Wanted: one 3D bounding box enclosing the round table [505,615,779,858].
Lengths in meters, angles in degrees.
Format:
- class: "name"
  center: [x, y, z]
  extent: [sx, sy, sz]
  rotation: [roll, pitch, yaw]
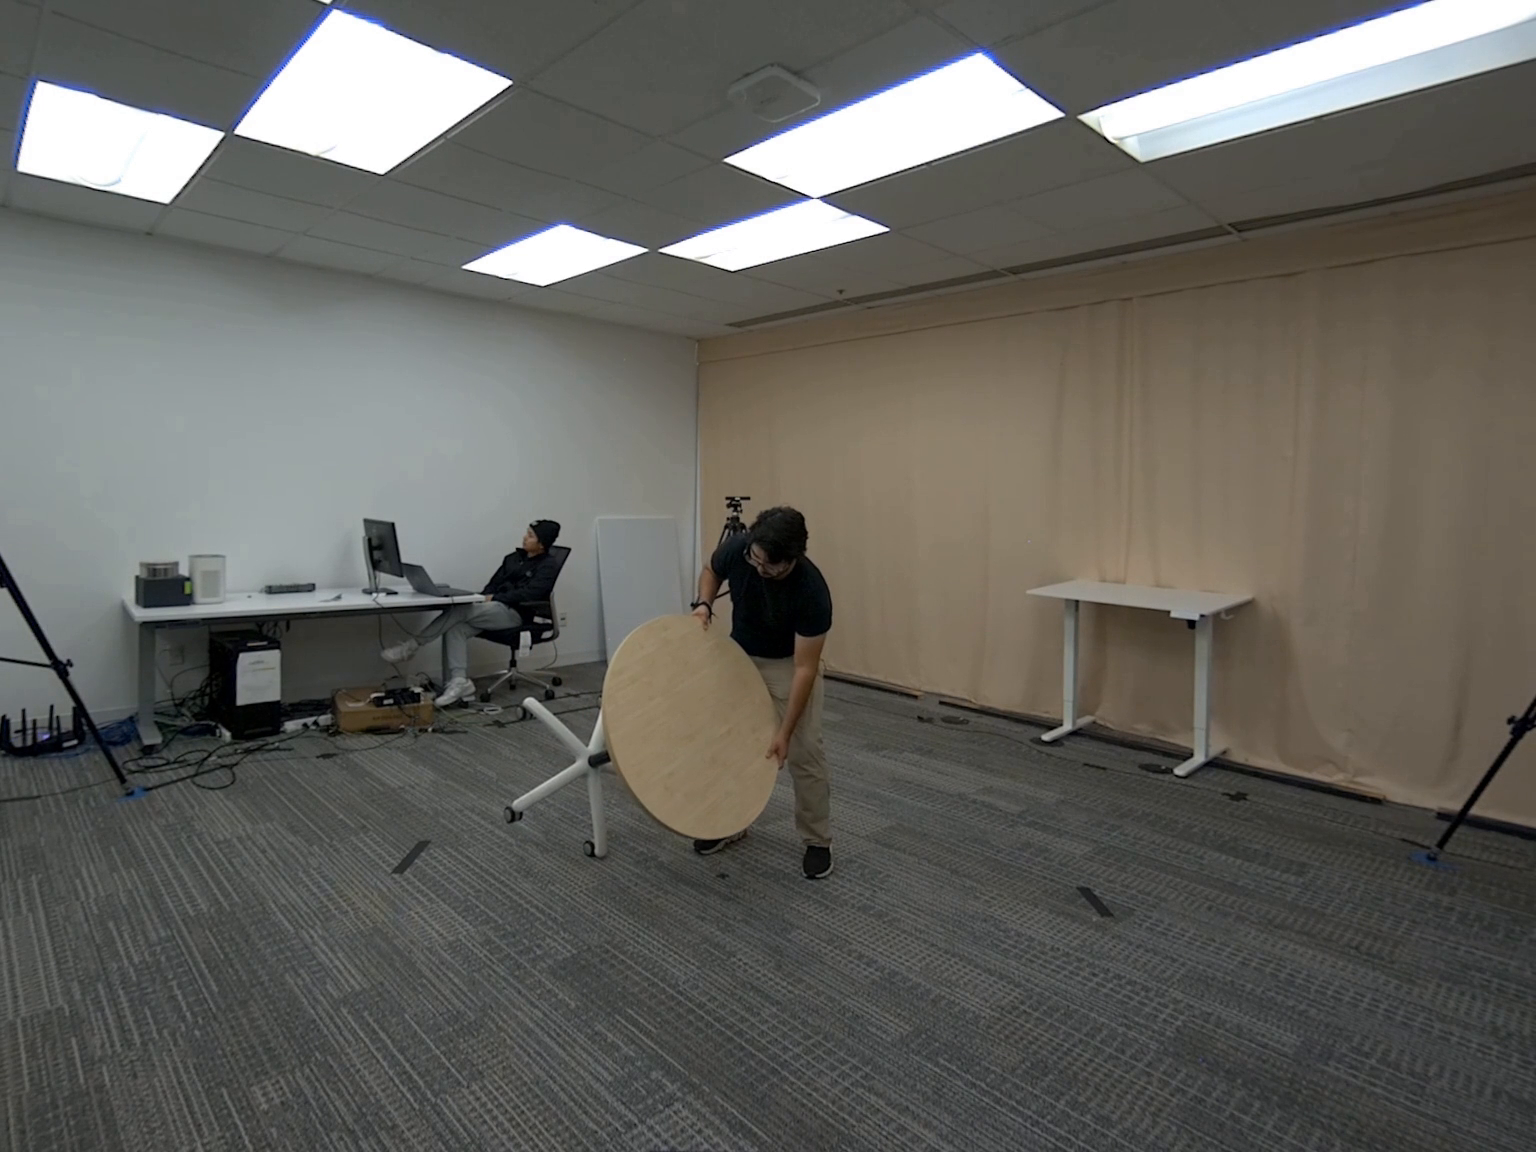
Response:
- class: "round table"
  center: [-0.516, 0.622, 3.123]
  extent: [0.794, 0.795, 0.767]
  rotation: [-27, -16, 39]
